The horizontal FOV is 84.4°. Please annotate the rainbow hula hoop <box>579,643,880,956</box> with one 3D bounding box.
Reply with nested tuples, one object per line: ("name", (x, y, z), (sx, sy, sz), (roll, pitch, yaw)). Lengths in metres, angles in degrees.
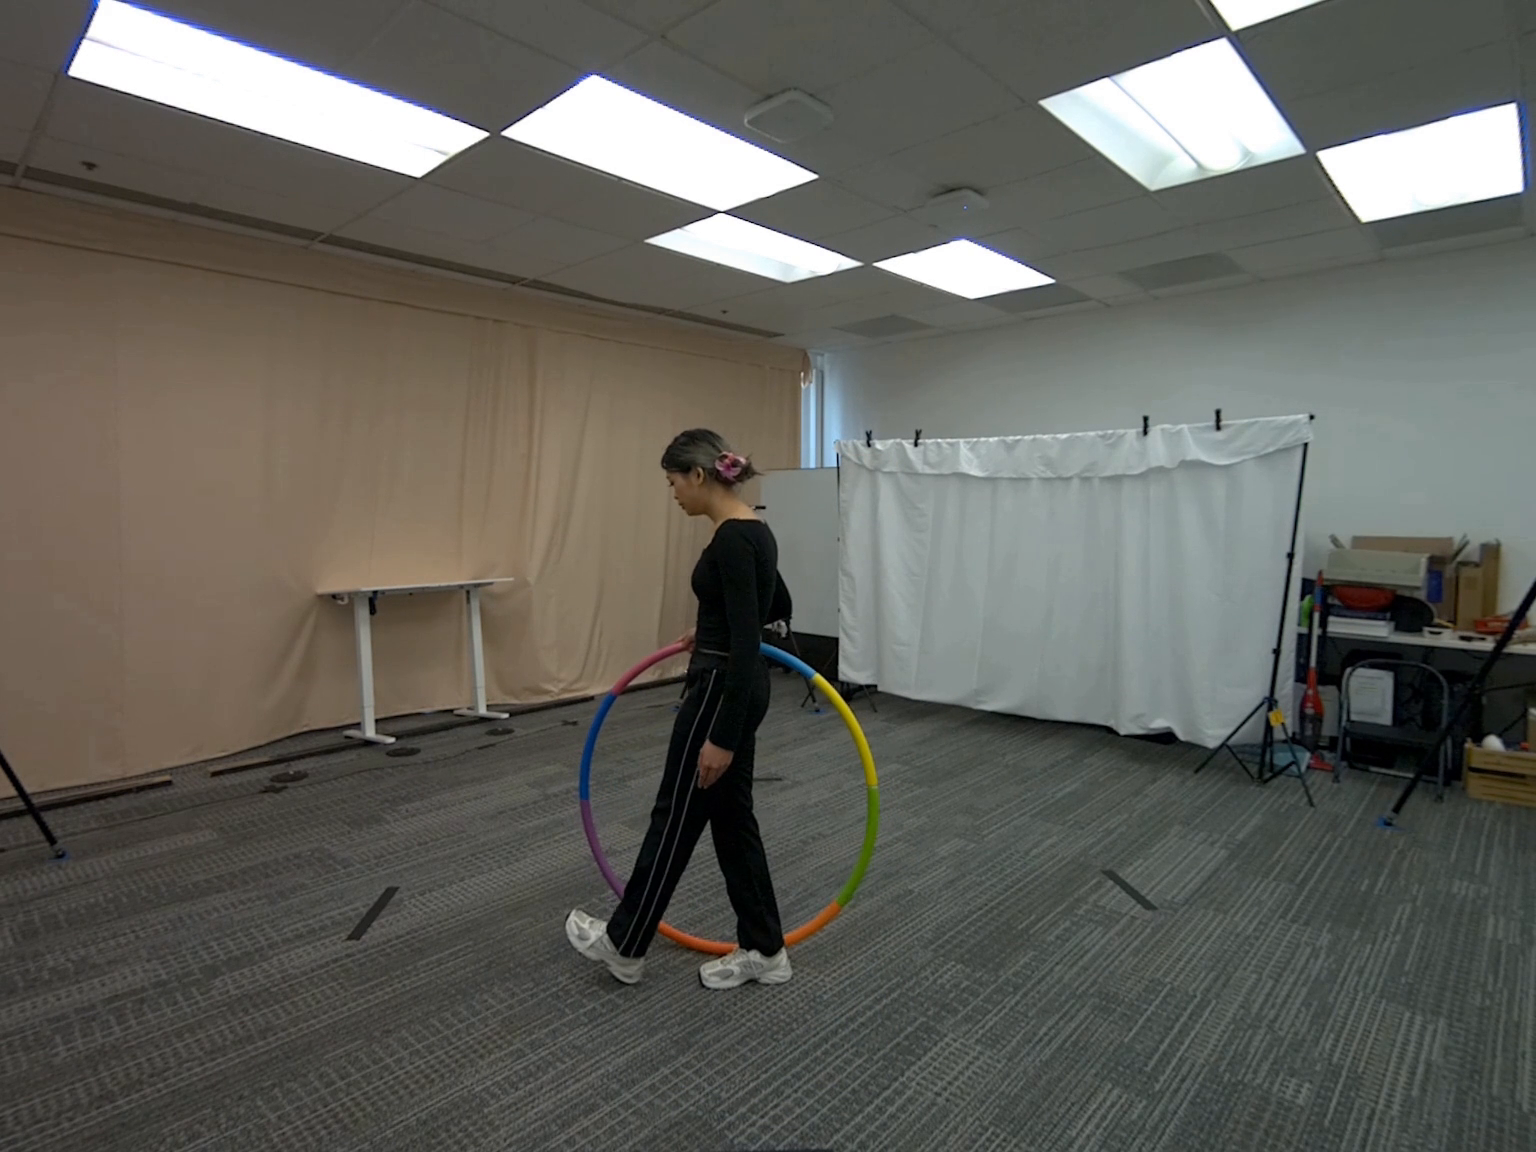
("rainbow hula hoop", (-0.146, 0.684, 2.656), (0.997, 0.981, 0.035), (1, -4, 18))
